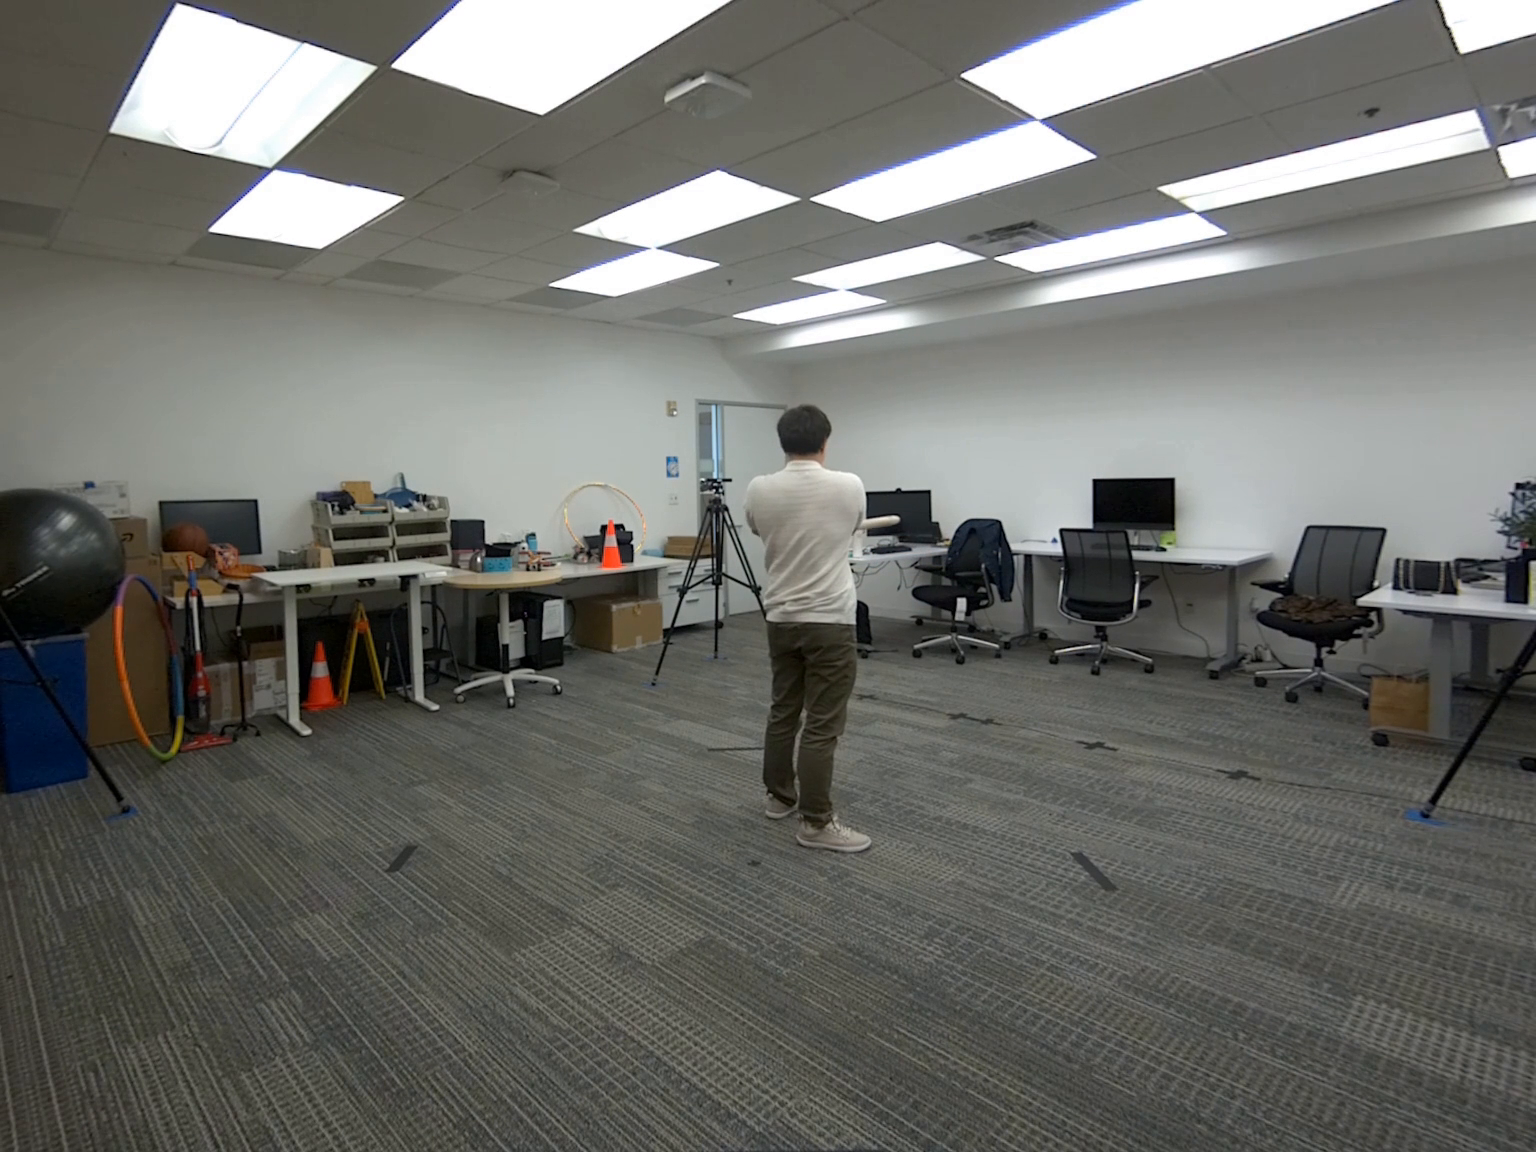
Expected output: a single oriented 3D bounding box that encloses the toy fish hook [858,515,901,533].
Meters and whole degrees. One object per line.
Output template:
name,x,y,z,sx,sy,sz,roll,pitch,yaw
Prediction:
toy fish hook,0.335,-0.206,3.858,0.503,0.049,0.224,-9,-6,-9
